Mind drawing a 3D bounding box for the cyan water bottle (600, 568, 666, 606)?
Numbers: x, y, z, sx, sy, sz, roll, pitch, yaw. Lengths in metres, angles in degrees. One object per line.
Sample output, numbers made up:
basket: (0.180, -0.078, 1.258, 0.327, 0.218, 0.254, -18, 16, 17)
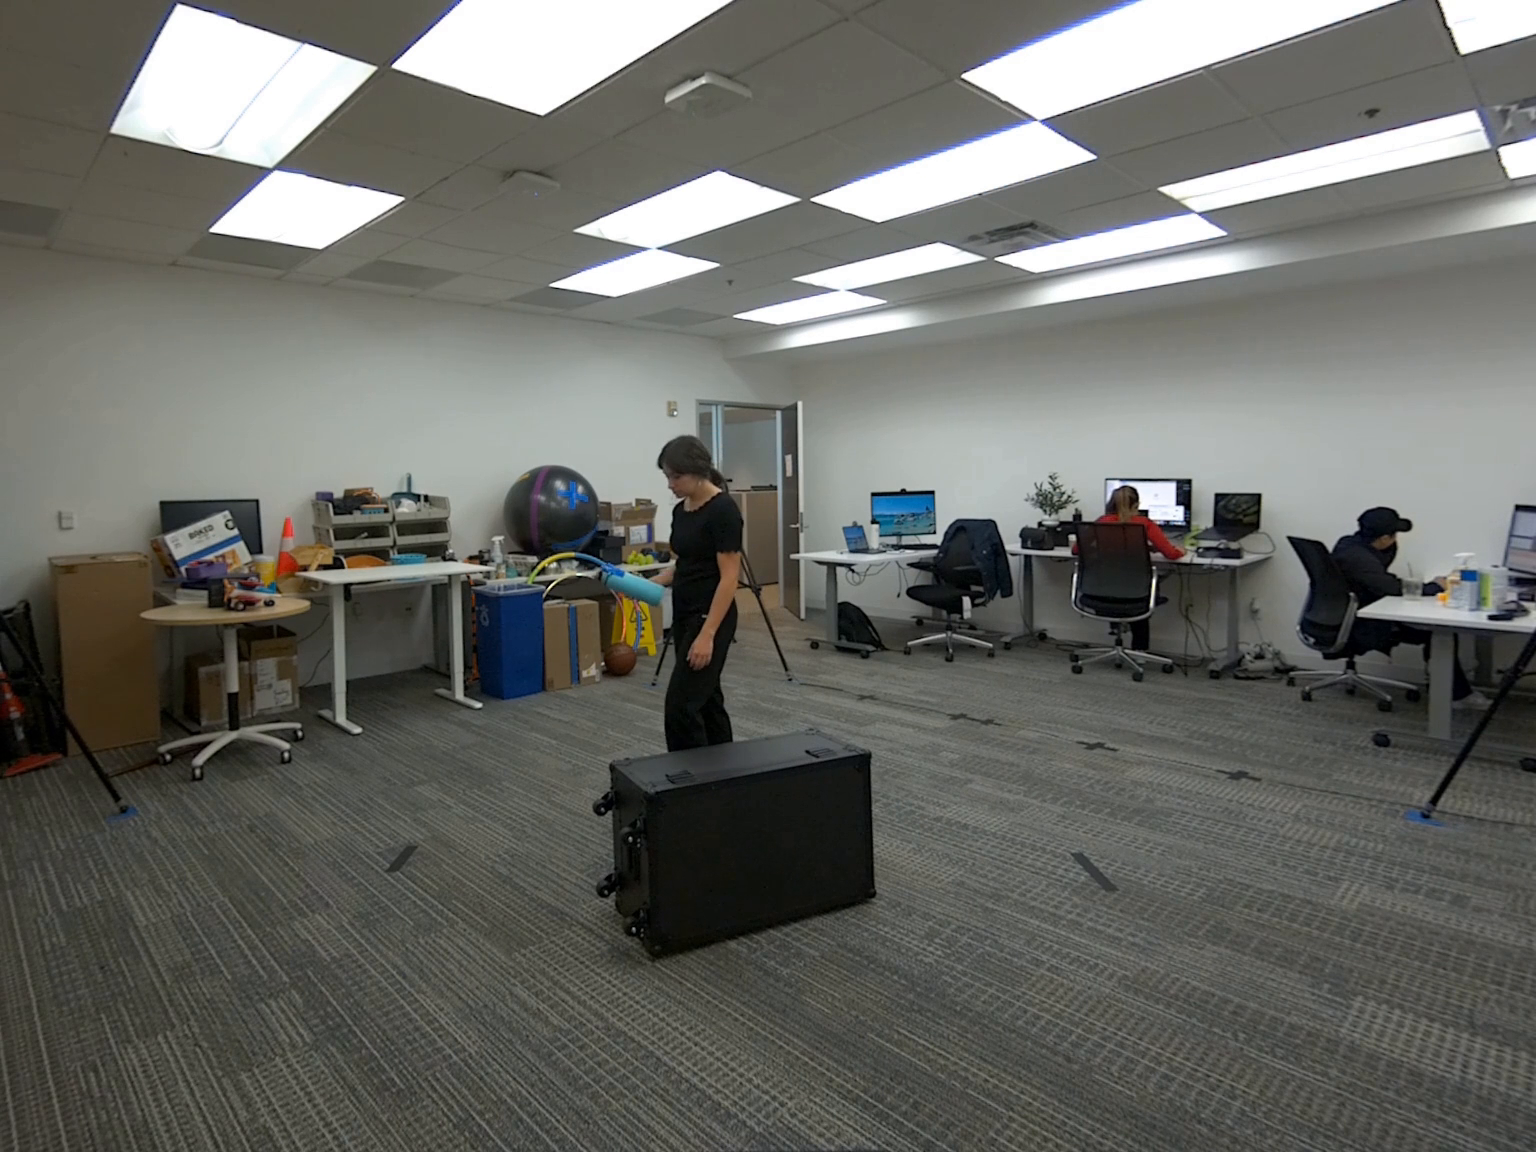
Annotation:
cyan water bottle: (-0.563, 0.036, 3.467, 0.282, 0.092, 0.093, 23, 3, -4)
